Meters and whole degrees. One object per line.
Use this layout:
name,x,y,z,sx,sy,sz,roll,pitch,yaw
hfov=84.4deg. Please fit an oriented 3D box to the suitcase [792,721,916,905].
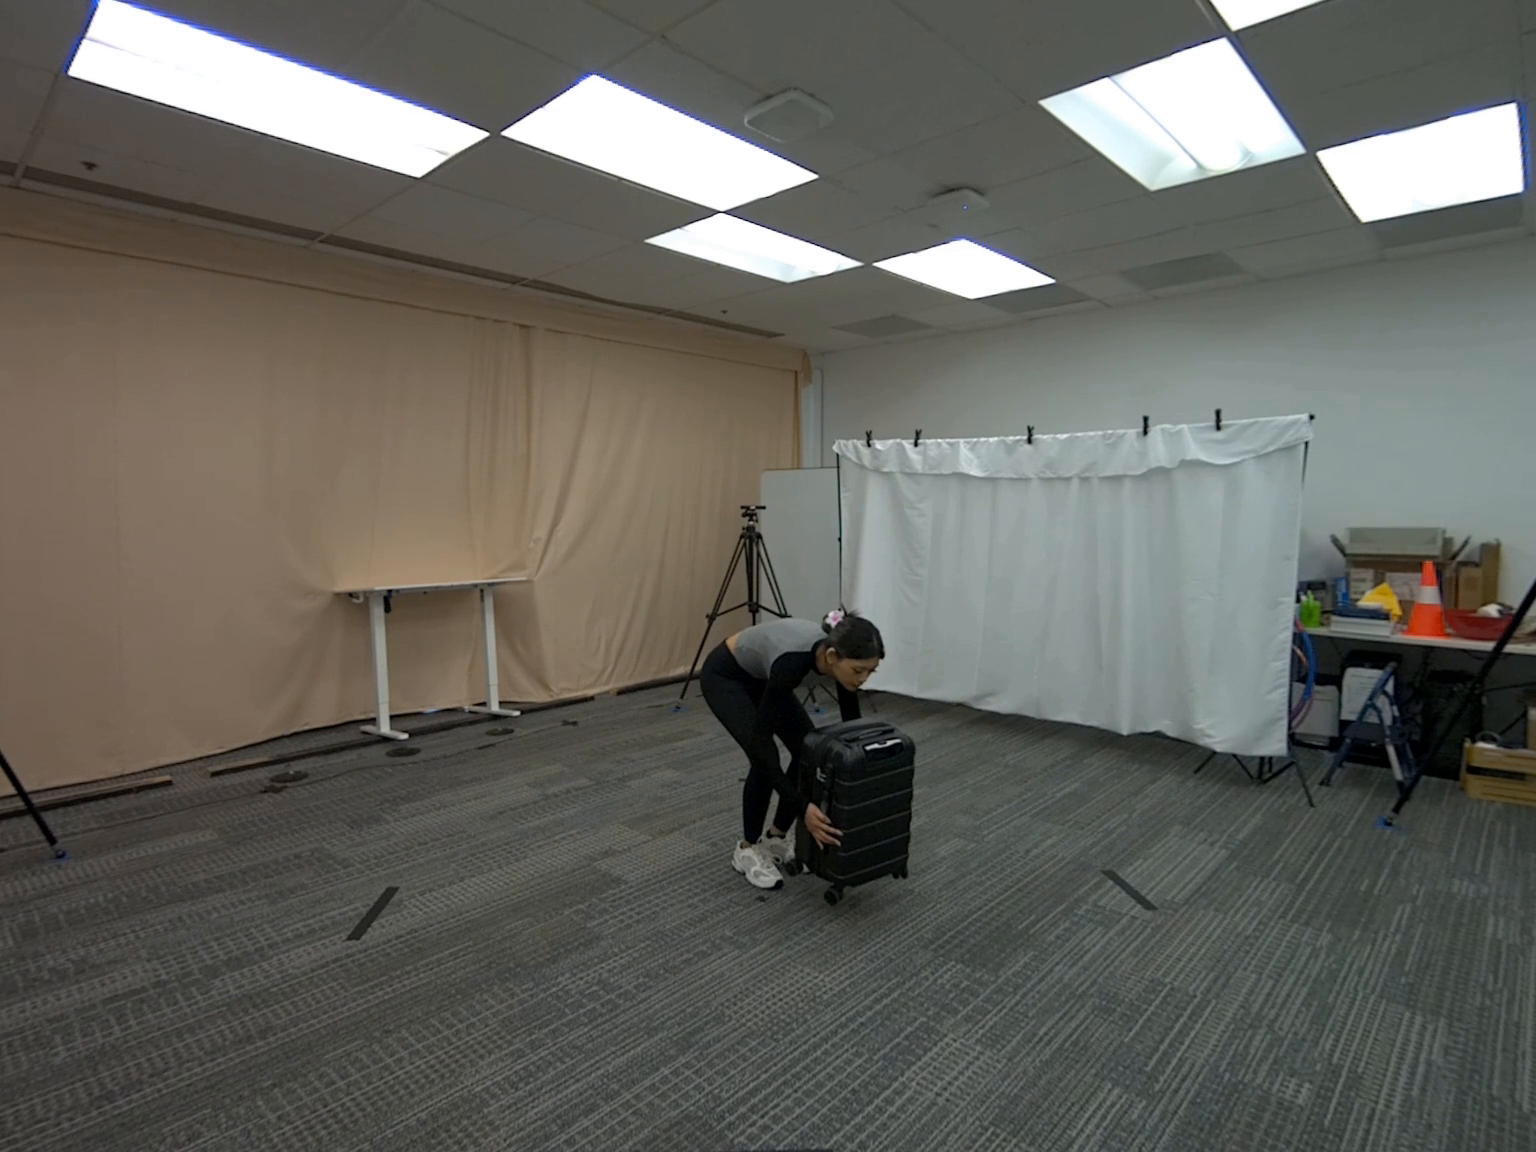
suitcase,0.302,0.780,2.888,0.365,0.546,0.257,-4,11,-35
